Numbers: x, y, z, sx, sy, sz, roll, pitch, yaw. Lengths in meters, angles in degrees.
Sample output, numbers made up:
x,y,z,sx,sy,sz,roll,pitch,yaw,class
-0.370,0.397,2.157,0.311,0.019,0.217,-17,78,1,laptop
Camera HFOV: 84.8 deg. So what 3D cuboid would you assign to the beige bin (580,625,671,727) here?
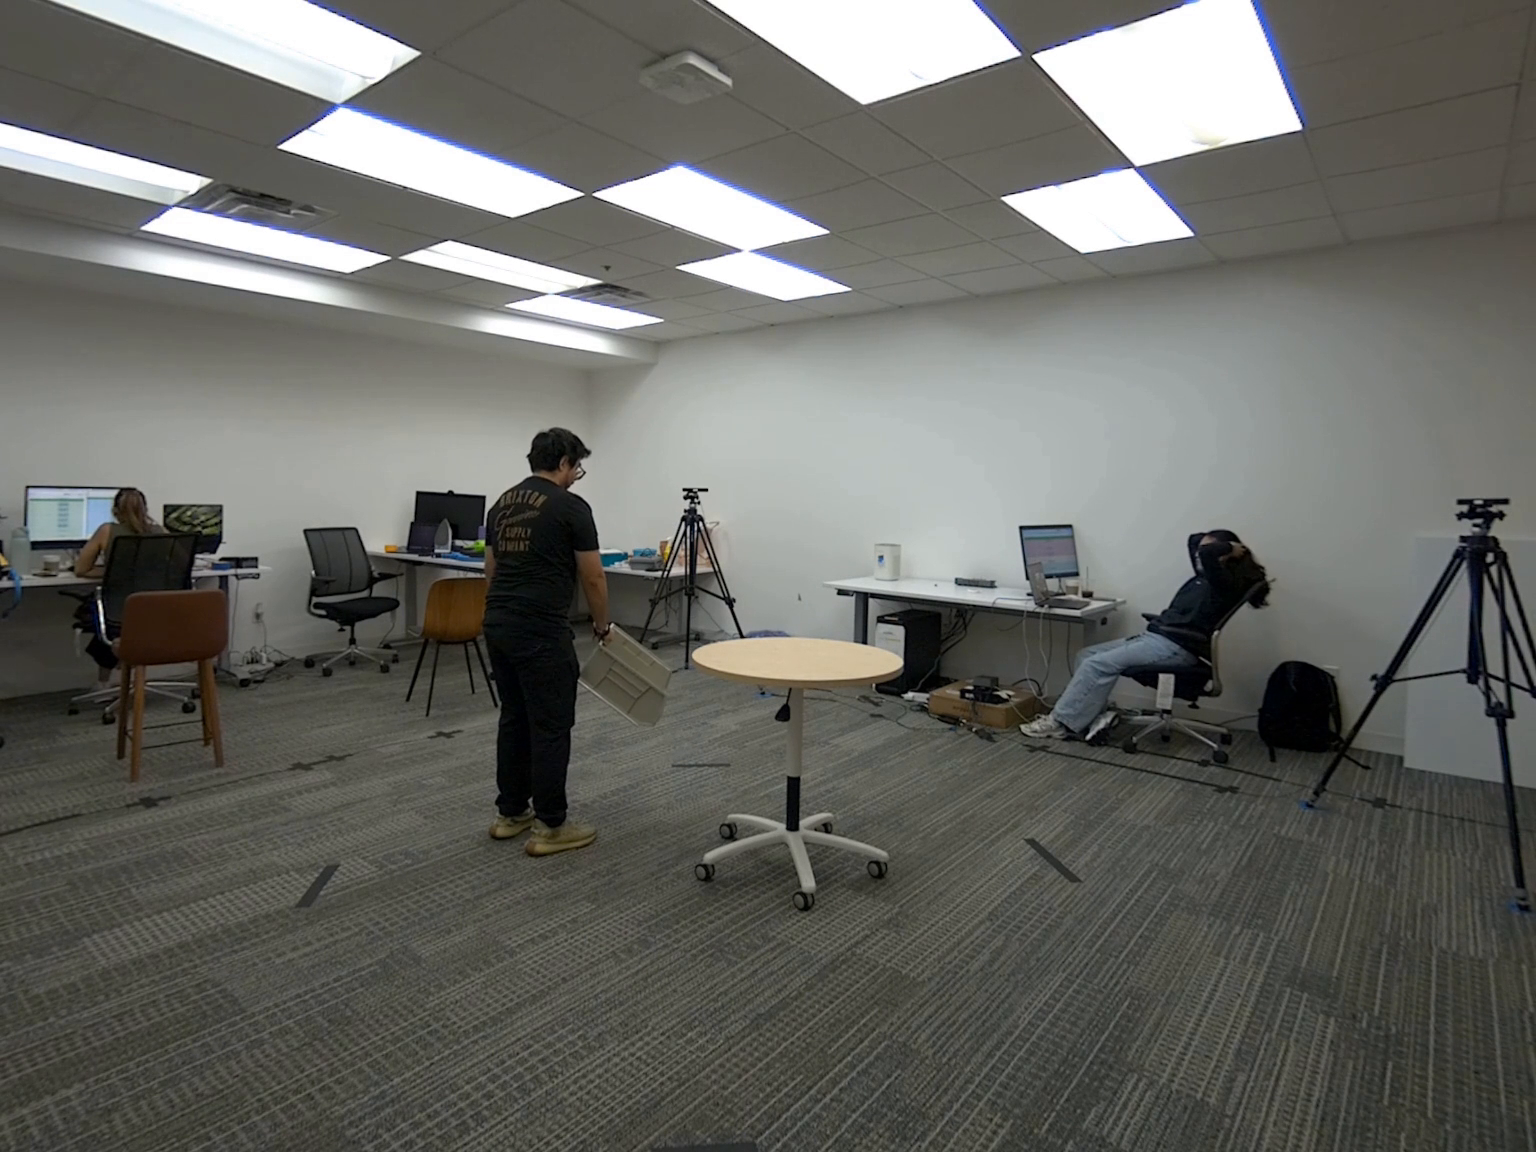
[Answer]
x,y,z,sx,sy,sz,roll,pitch,yaw,class
-0.604,0.426,3.602,0.375,0.189,0.425,37,4,-5,beige bin
